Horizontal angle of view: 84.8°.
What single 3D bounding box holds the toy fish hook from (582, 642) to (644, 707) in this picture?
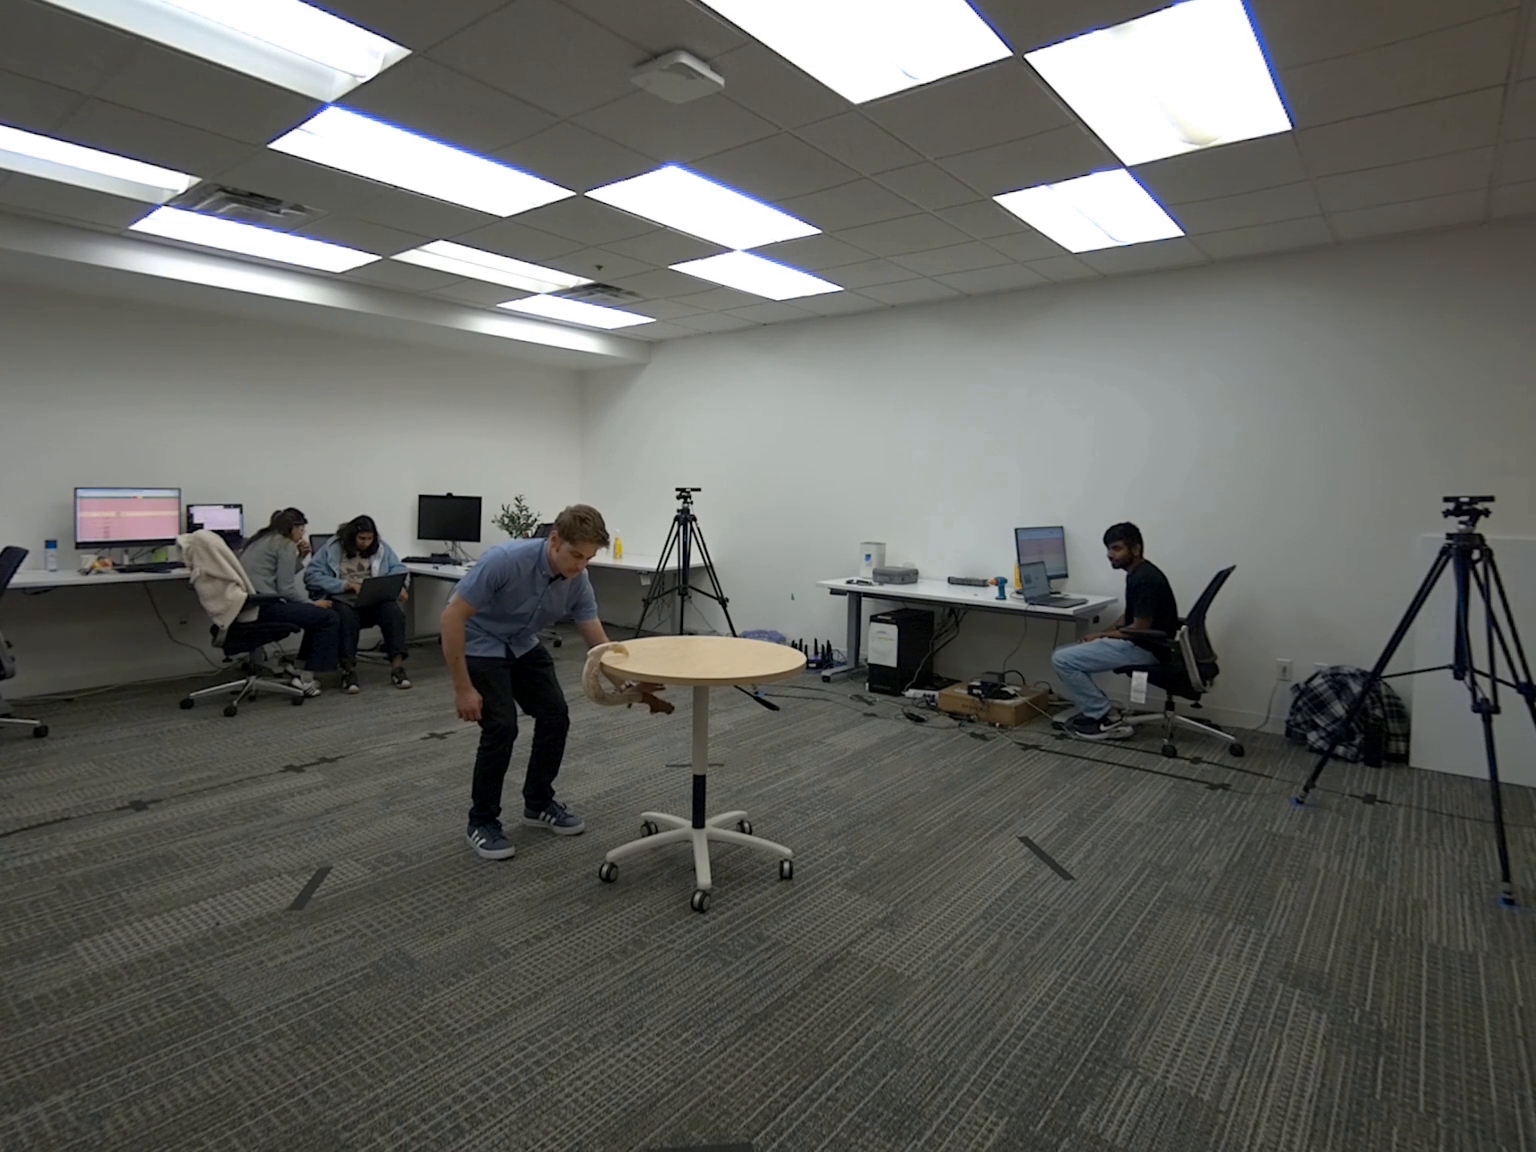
[{"bbox_3d":[-0.503,0.383,3.083,0.050,0.226,0.486,8,-14,38],"label":"toy fish hook"}]
